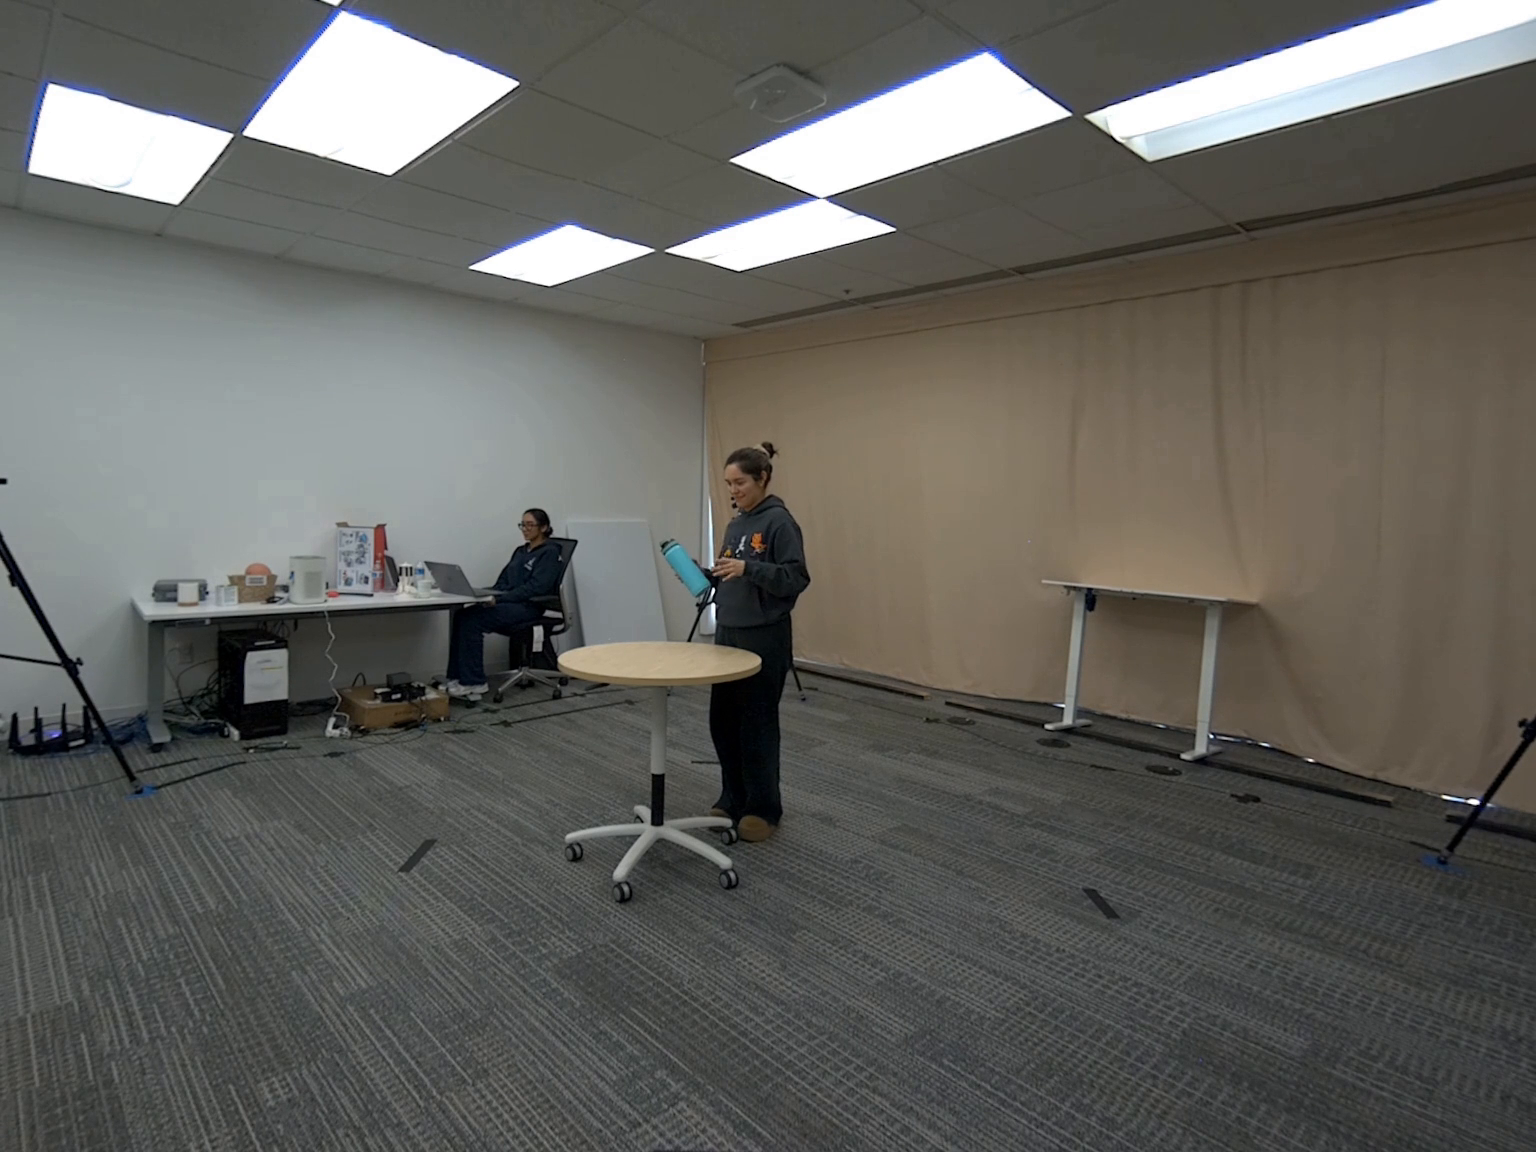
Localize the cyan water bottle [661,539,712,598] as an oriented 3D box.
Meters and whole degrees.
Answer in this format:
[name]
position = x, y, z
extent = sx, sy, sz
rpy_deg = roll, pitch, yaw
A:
[cyan water bottle]
position = -0.366, -0.066, 3.595
extent = 0.092, 0.287, 0.091
rpy_deg = -37, -10, -8
